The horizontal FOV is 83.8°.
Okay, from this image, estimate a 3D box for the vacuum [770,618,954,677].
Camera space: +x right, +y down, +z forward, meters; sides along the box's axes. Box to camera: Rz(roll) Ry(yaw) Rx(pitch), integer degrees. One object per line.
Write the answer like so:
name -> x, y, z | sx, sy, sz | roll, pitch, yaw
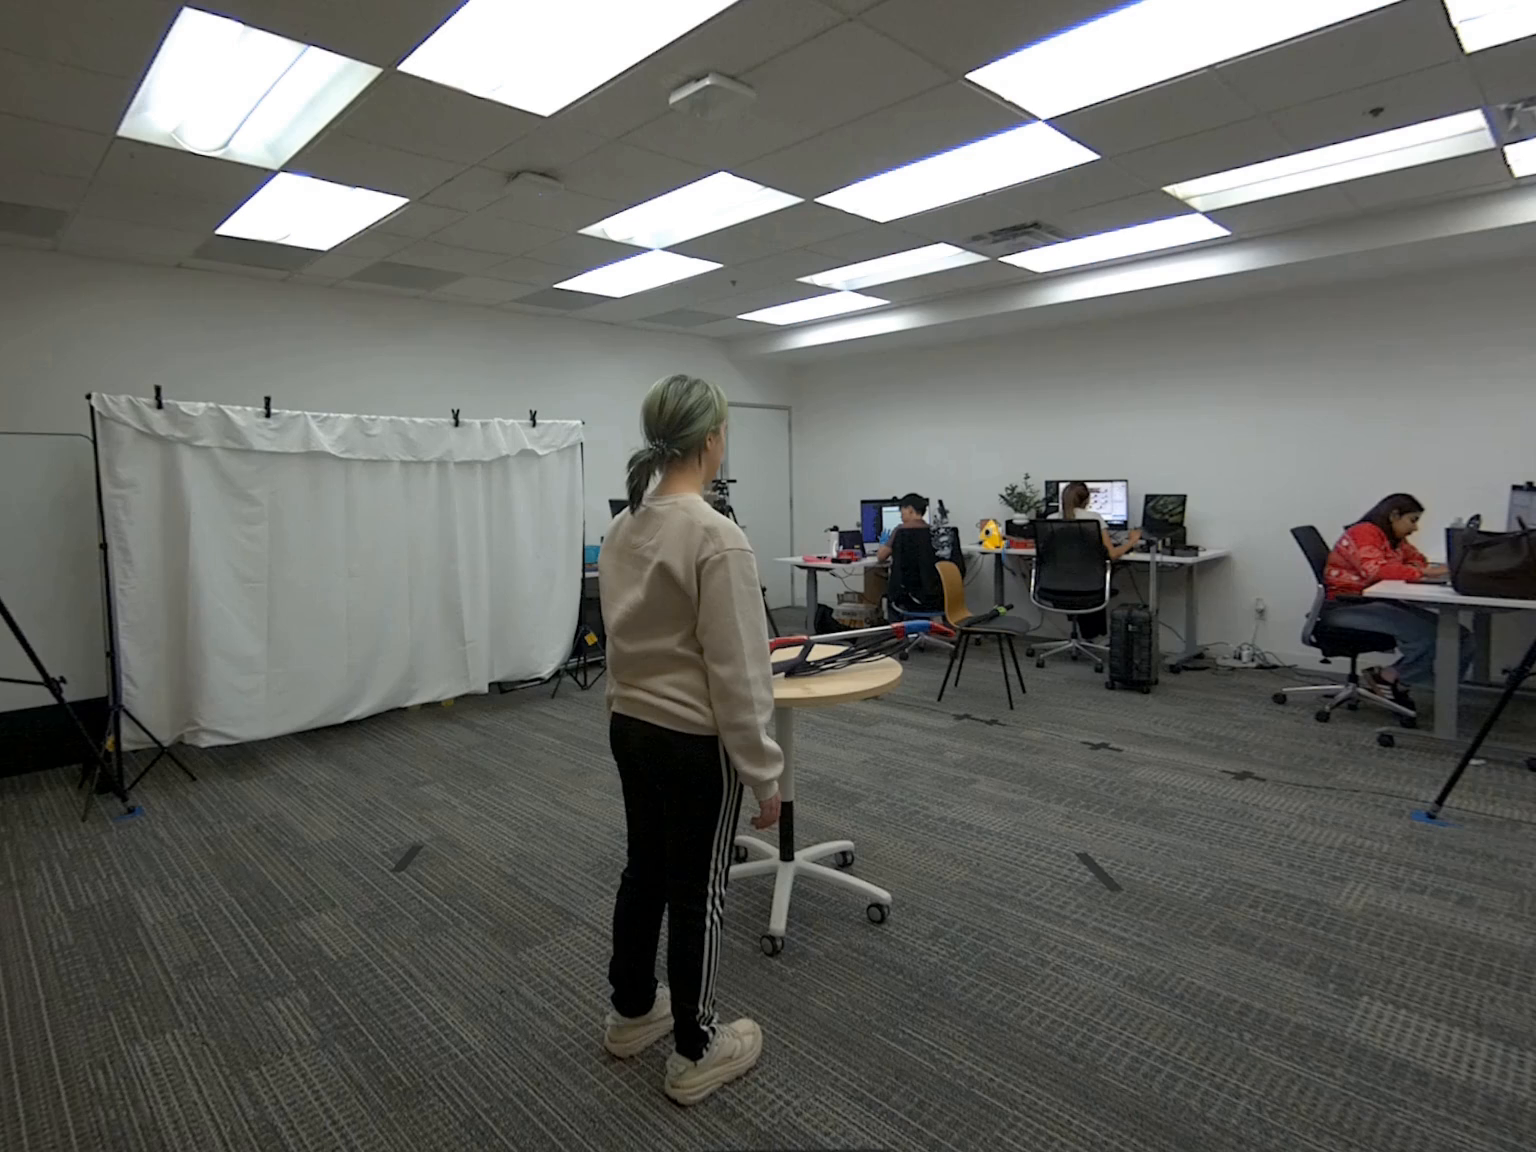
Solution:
vacuum -> 0.186, 0.249, 2.683 | 1.030, 0.141, 0.262 | -6, 28, -23
